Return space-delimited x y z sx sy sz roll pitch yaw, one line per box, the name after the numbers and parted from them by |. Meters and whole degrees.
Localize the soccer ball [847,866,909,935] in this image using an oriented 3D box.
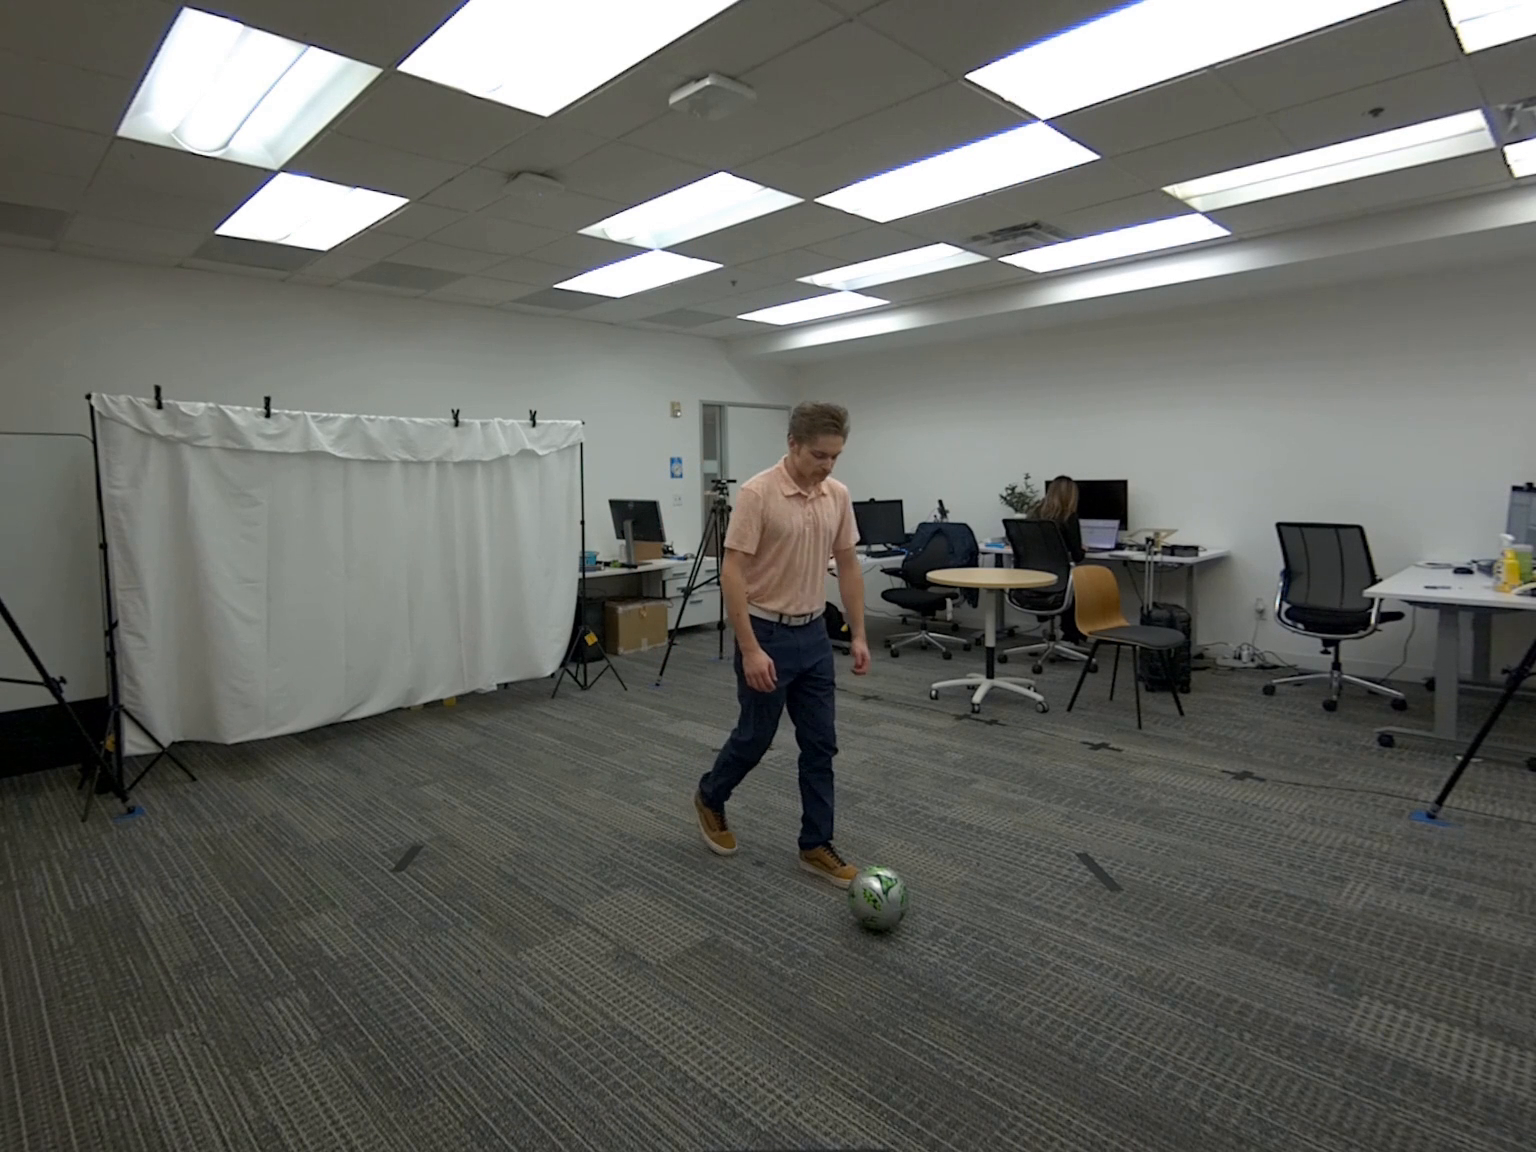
0.345 0.996 2.650 0.187 0.187 0.188 -1 5 -2 | soccer ball
